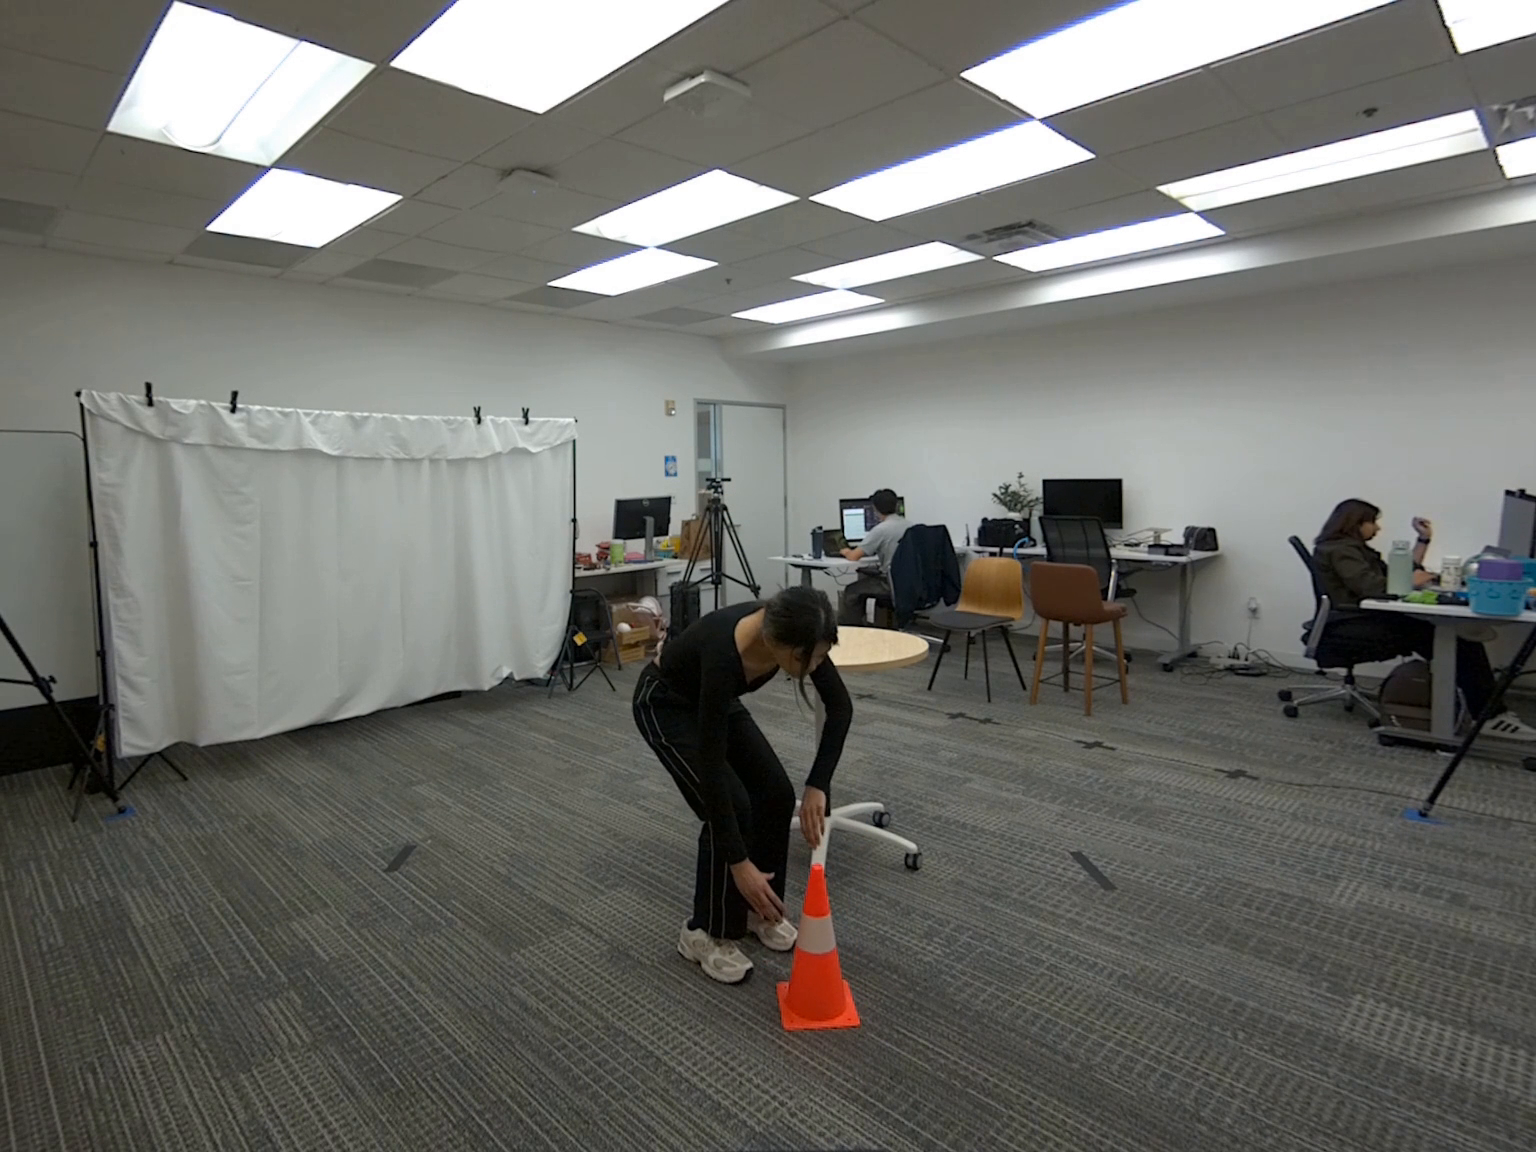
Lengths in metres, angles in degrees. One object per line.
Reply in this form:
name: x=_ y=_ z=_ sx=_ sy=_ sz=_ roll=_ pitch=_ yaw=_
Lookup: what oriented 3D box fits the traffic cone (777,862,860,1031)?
traffic cone: x=0.136 y=0.948 z=2.268 sx=0.203 sy=0.384 sz=0.205 roll=-1 pitch=0 yaw=-2
